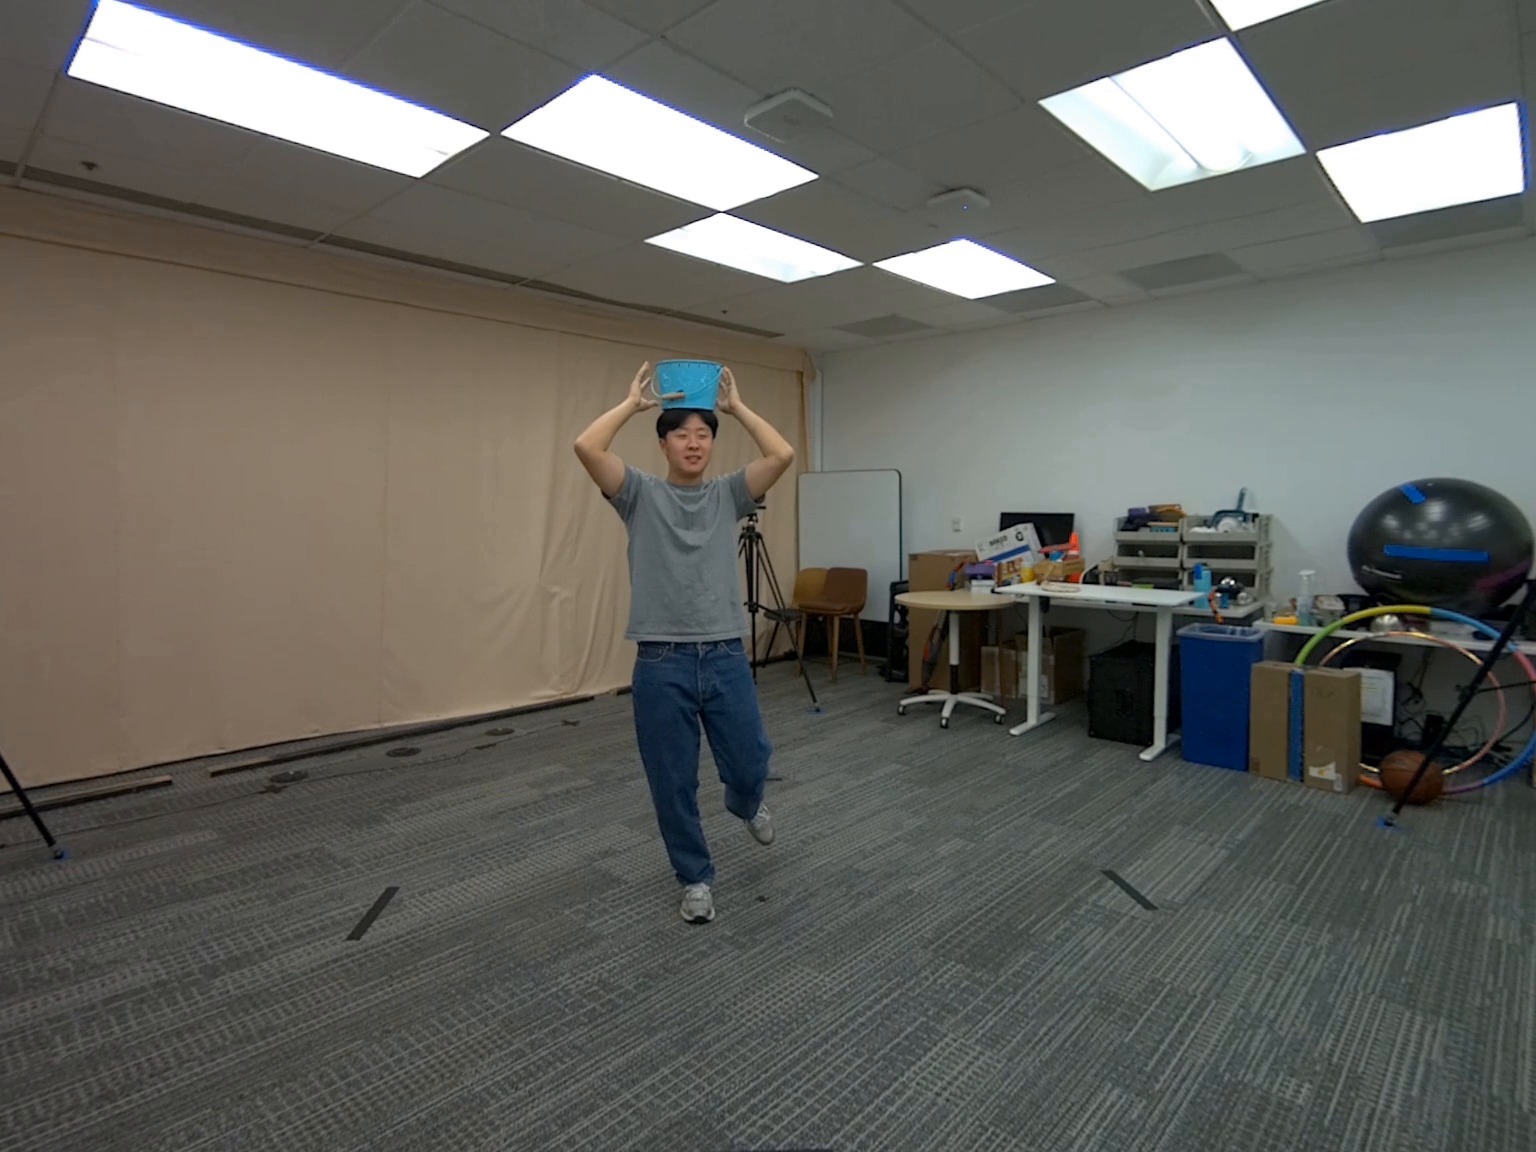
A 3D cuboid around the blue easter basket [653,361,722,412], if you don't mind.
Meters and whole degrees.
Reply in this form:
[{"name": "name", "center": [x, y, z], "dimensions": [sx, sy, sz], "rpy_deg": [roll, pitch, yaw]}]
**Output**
[{"name": "blue easter basket", "center": [-0.274, -0.641, 2.858], "dimensions": [0.243, 0.156, 0.244], "rpy_deg": [2, 3, -2]}]
